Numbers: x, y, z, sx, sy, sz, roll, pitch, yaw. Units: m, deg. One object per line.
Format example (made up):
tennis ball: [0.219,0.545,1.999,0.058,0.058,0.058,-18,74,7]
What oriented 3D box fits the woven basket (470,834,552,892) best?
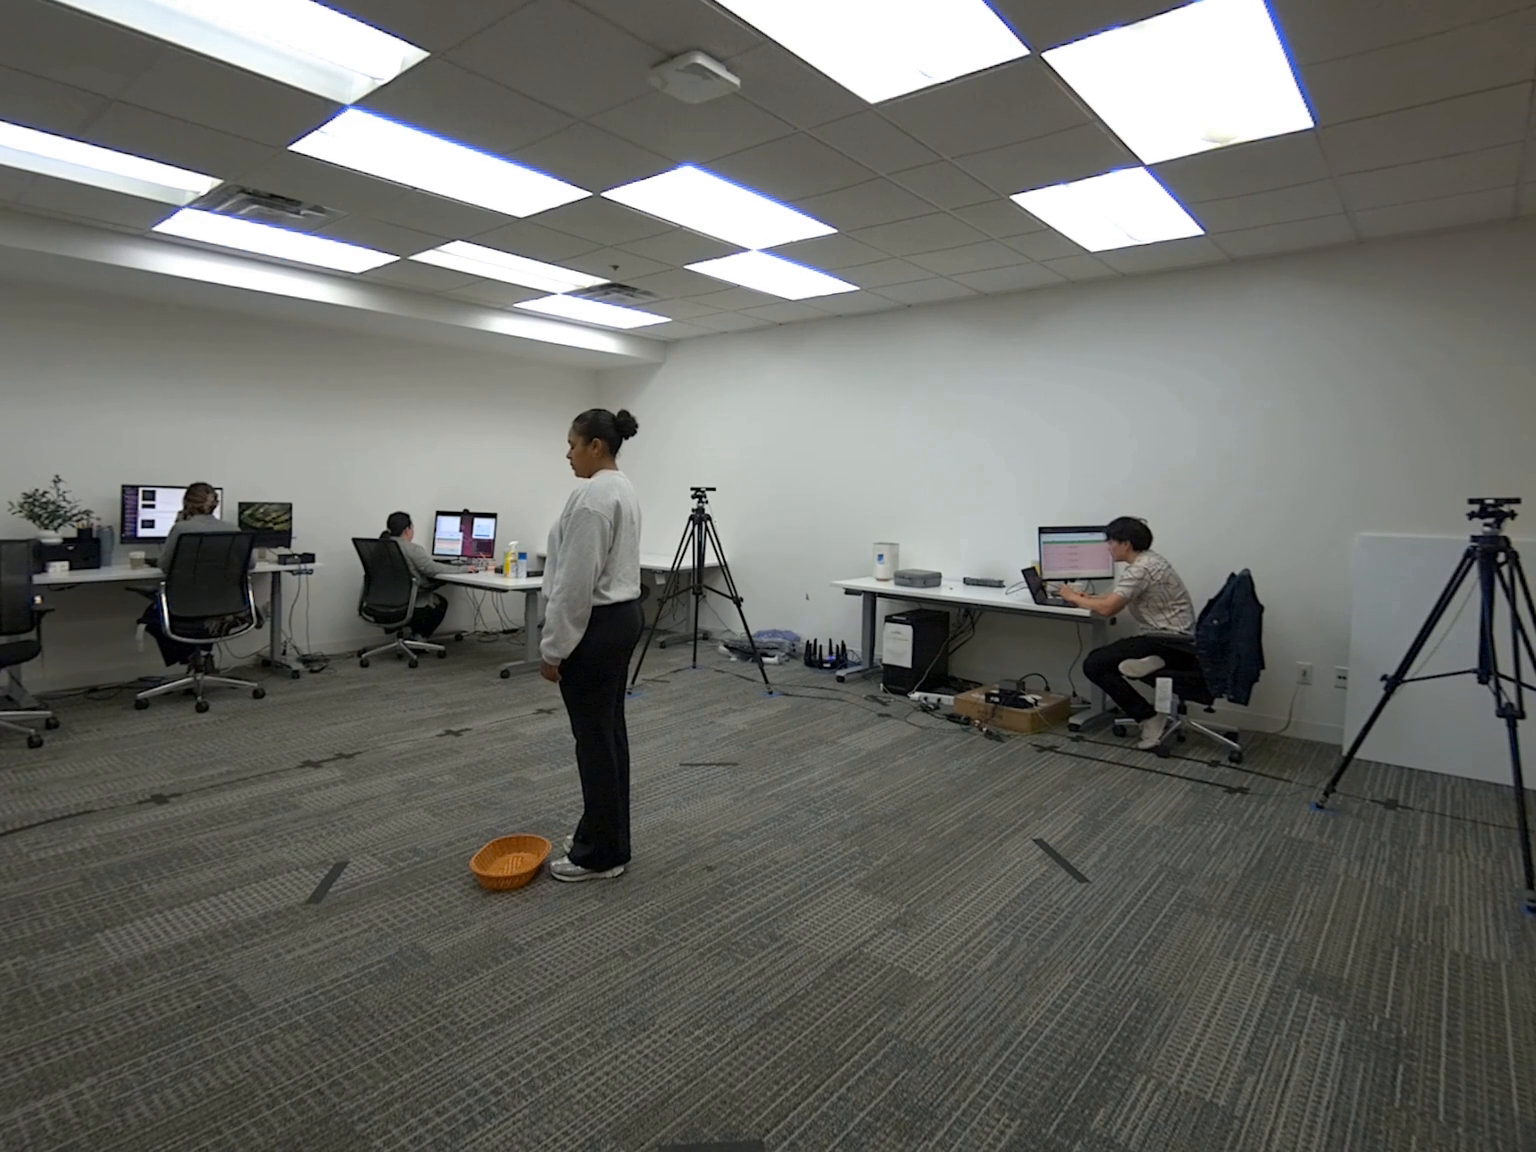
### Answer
woven basket: [-0.927,1.023,3.049,0.255,0.073,0.348,2,6,9]
